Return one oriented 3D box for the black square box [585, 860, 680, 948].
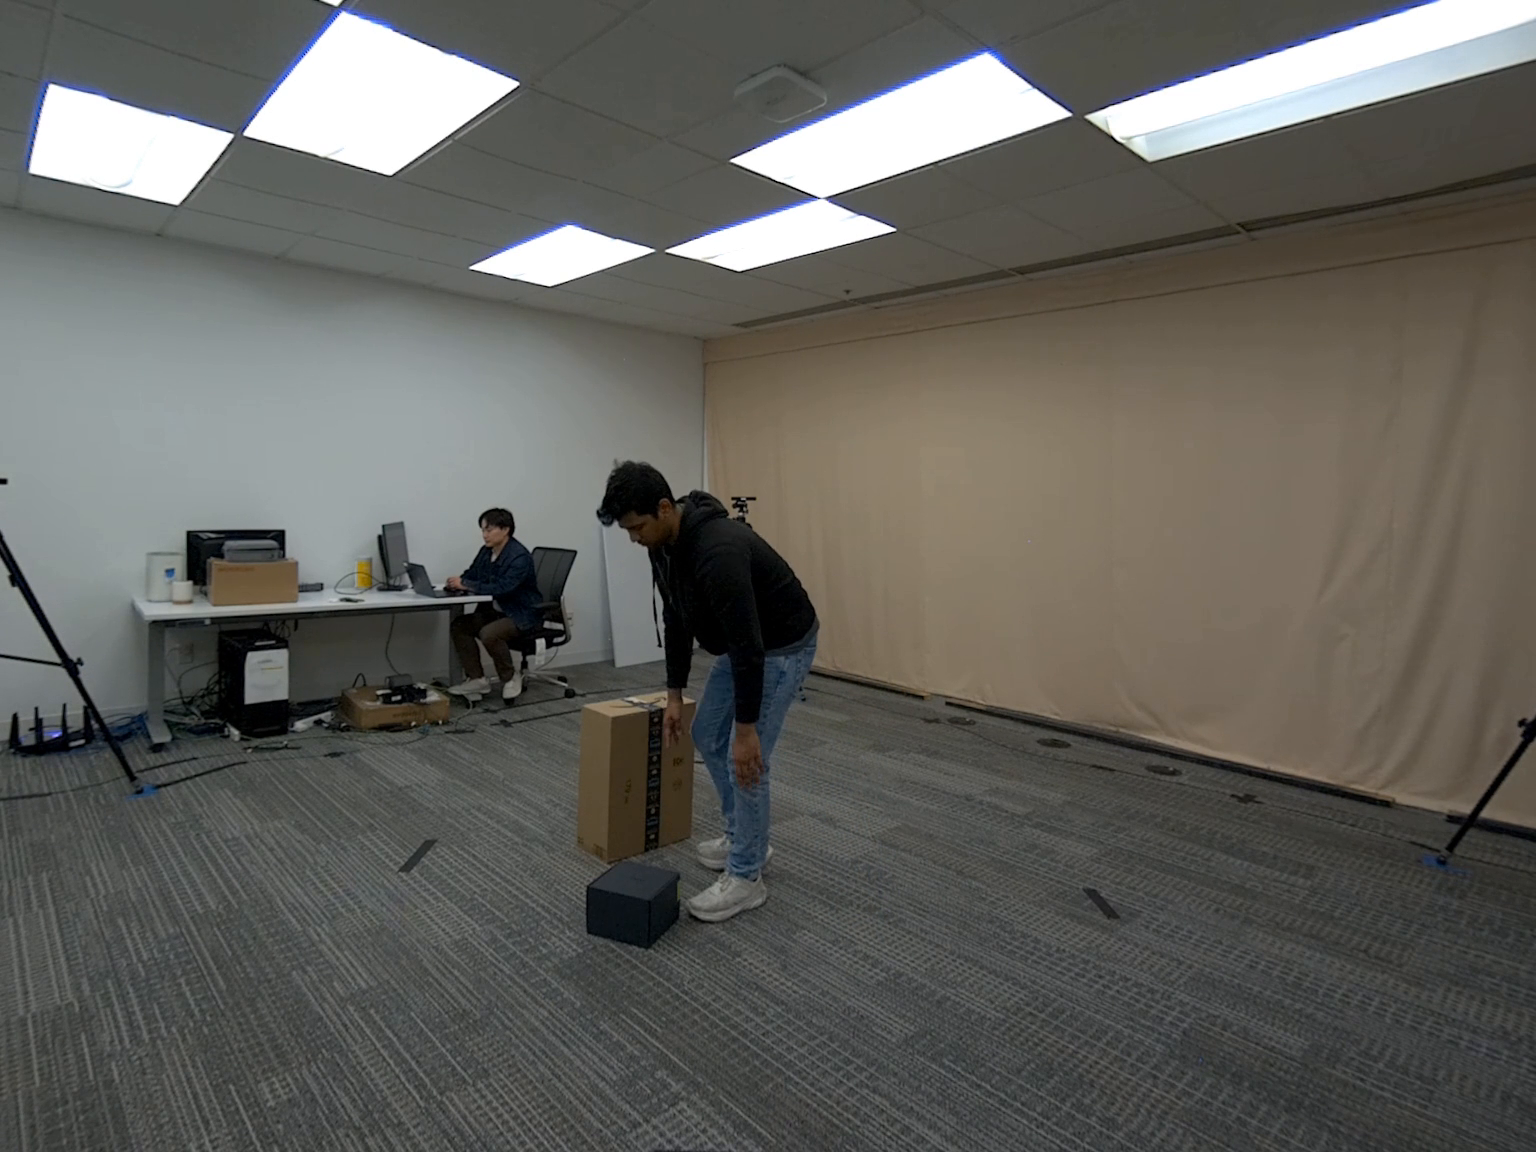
[{"bbox_3d":[-0.440,1.051,2.717,0.232,0.155,0.214,3,6,22],"label":"black square box"}]
